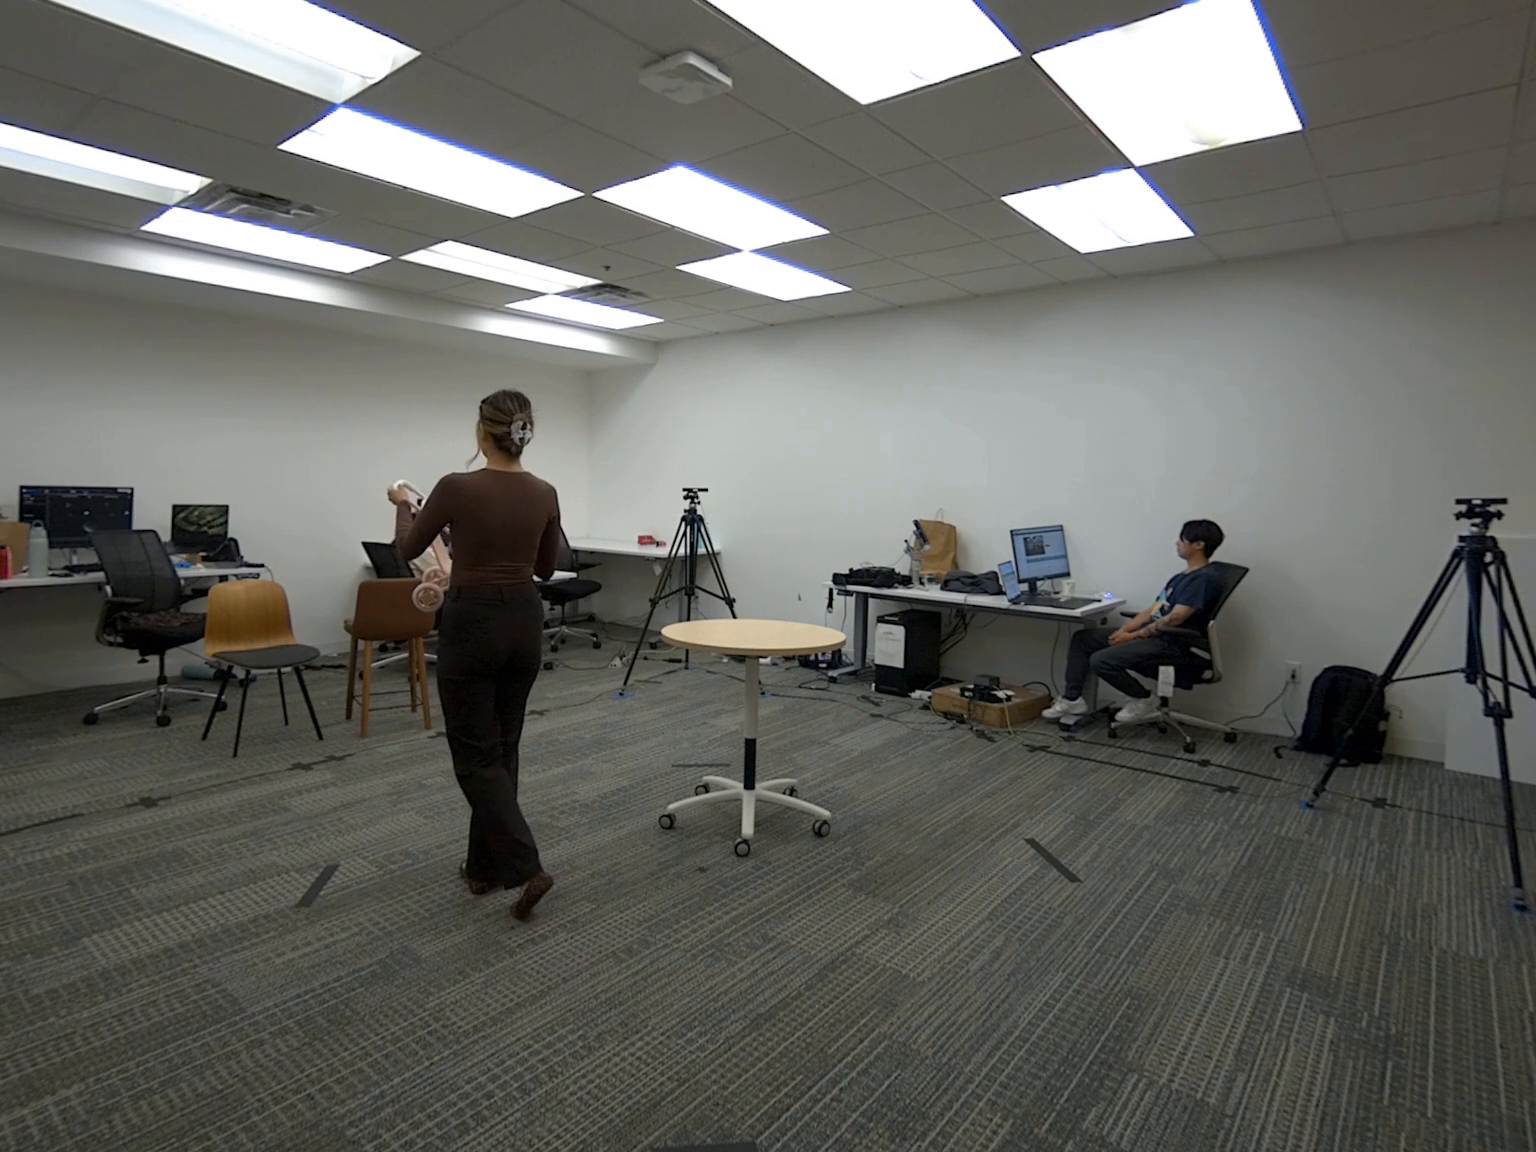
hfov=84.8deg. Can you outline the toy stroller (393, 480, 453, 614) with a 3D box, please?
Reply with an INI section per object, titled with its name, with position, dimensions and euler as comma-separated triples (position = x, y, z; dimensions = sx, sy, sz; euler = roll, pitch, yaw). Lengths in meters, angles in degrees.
[toy stroller]
position = -1.181, -0.117, 3.227
dimensions = 0.340, 0.527, 0.287
euler = -9, 13, -6
